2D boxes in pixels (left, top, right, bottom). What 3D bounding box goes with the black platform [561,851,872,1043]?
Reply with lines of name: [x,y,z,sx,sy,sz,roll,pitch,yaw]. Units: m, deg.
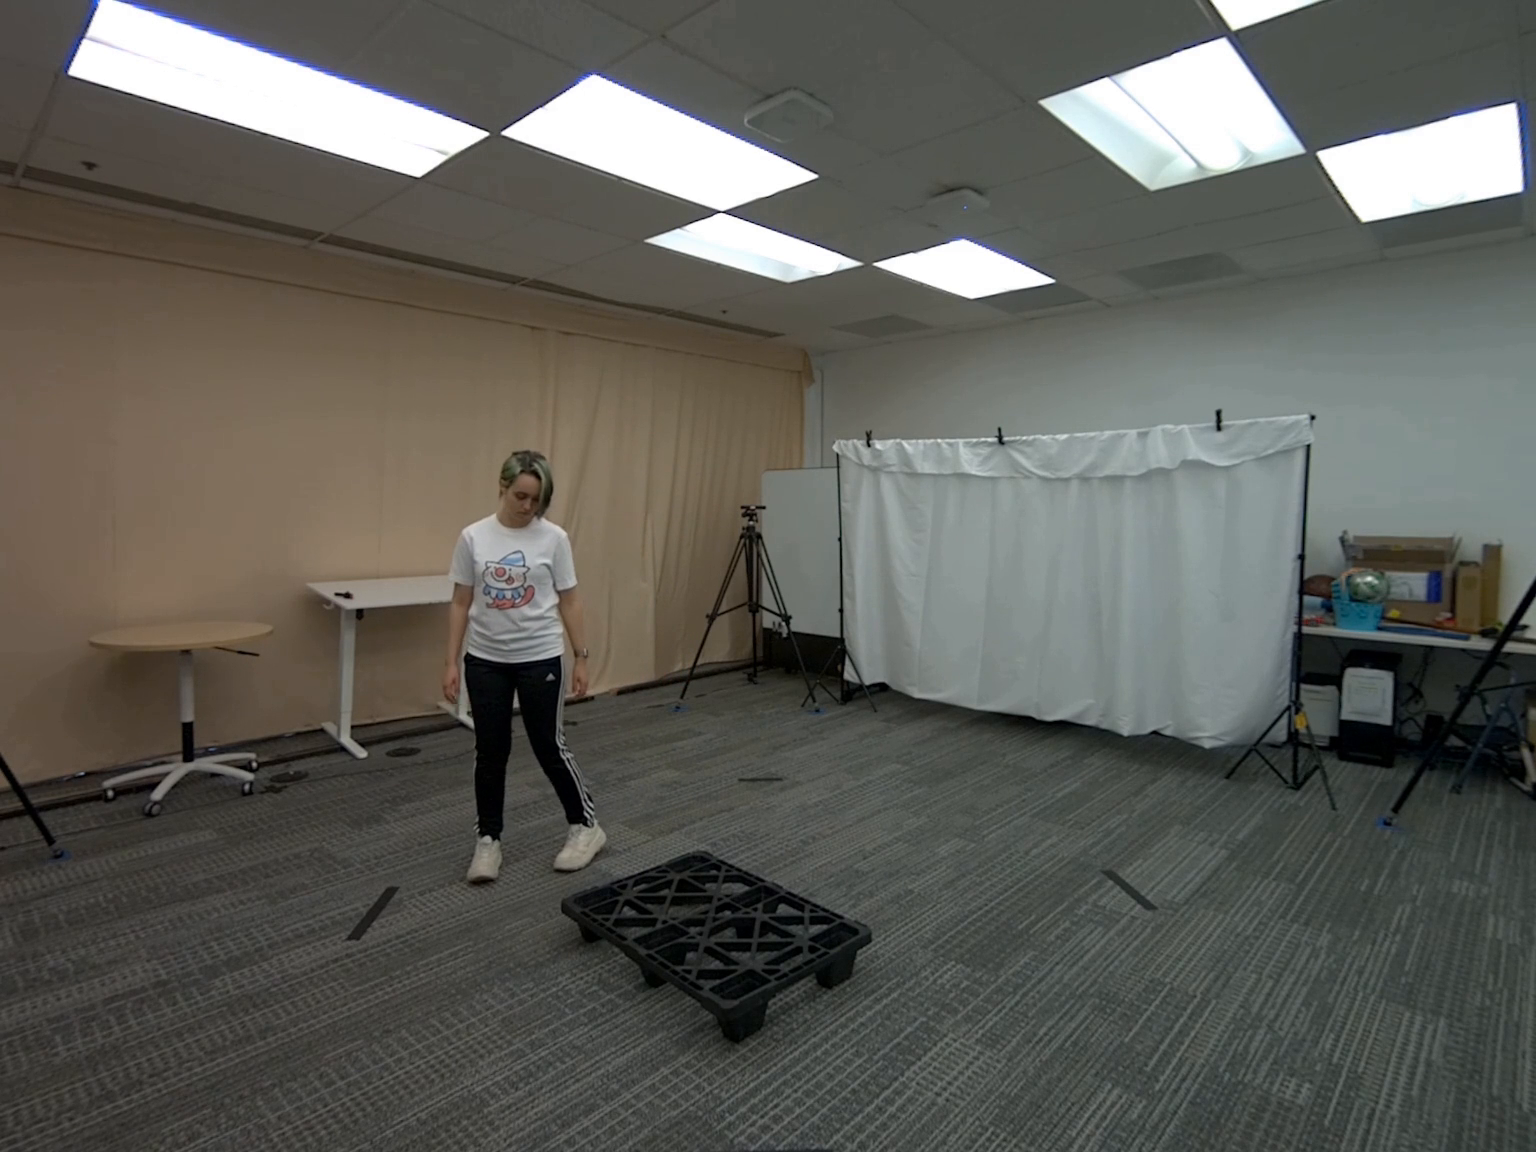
black platform: [-0.175,1.111,2.593,0.587,0.143,0.832,-5,7,-43]
